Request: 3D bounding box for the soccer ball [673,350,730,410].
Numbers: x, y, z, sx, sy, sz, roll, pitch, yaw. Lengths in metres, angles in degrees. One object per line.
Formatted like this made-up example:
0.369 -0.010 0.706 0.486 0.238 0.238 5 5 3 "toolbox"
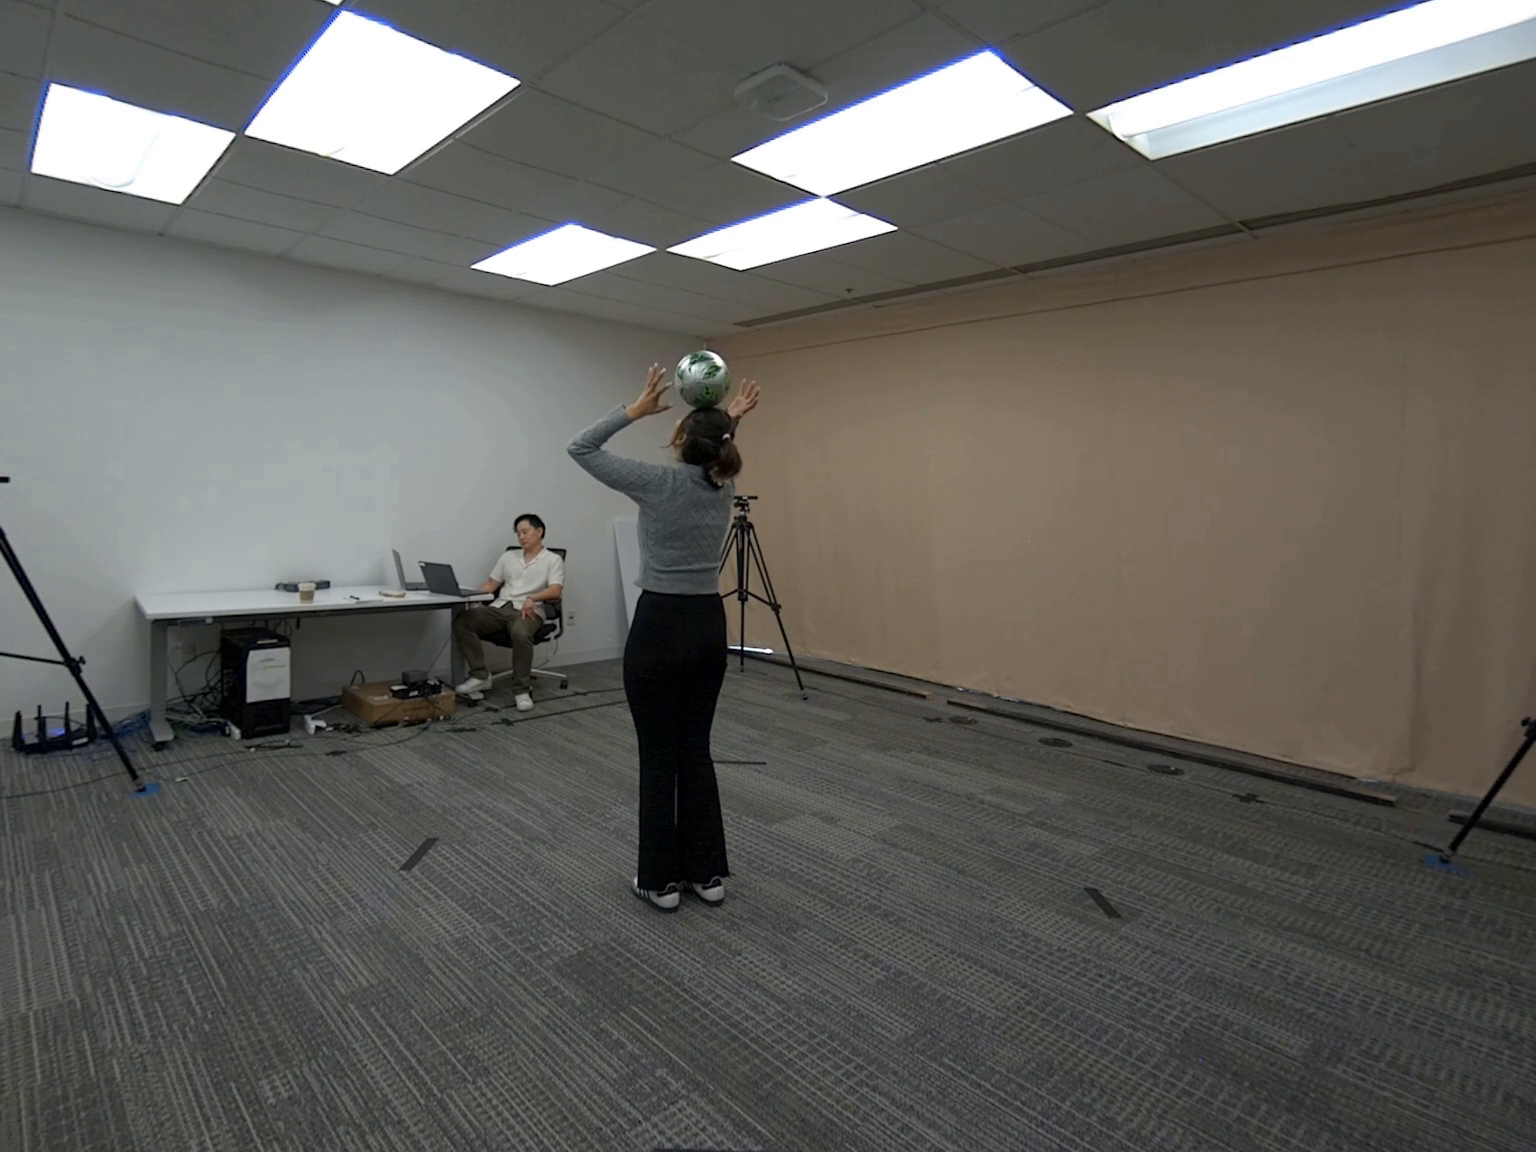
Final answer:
-0.232 -0.643 2.778 0.187 0.187 0.188 1 4 -1 "soccer ball"
